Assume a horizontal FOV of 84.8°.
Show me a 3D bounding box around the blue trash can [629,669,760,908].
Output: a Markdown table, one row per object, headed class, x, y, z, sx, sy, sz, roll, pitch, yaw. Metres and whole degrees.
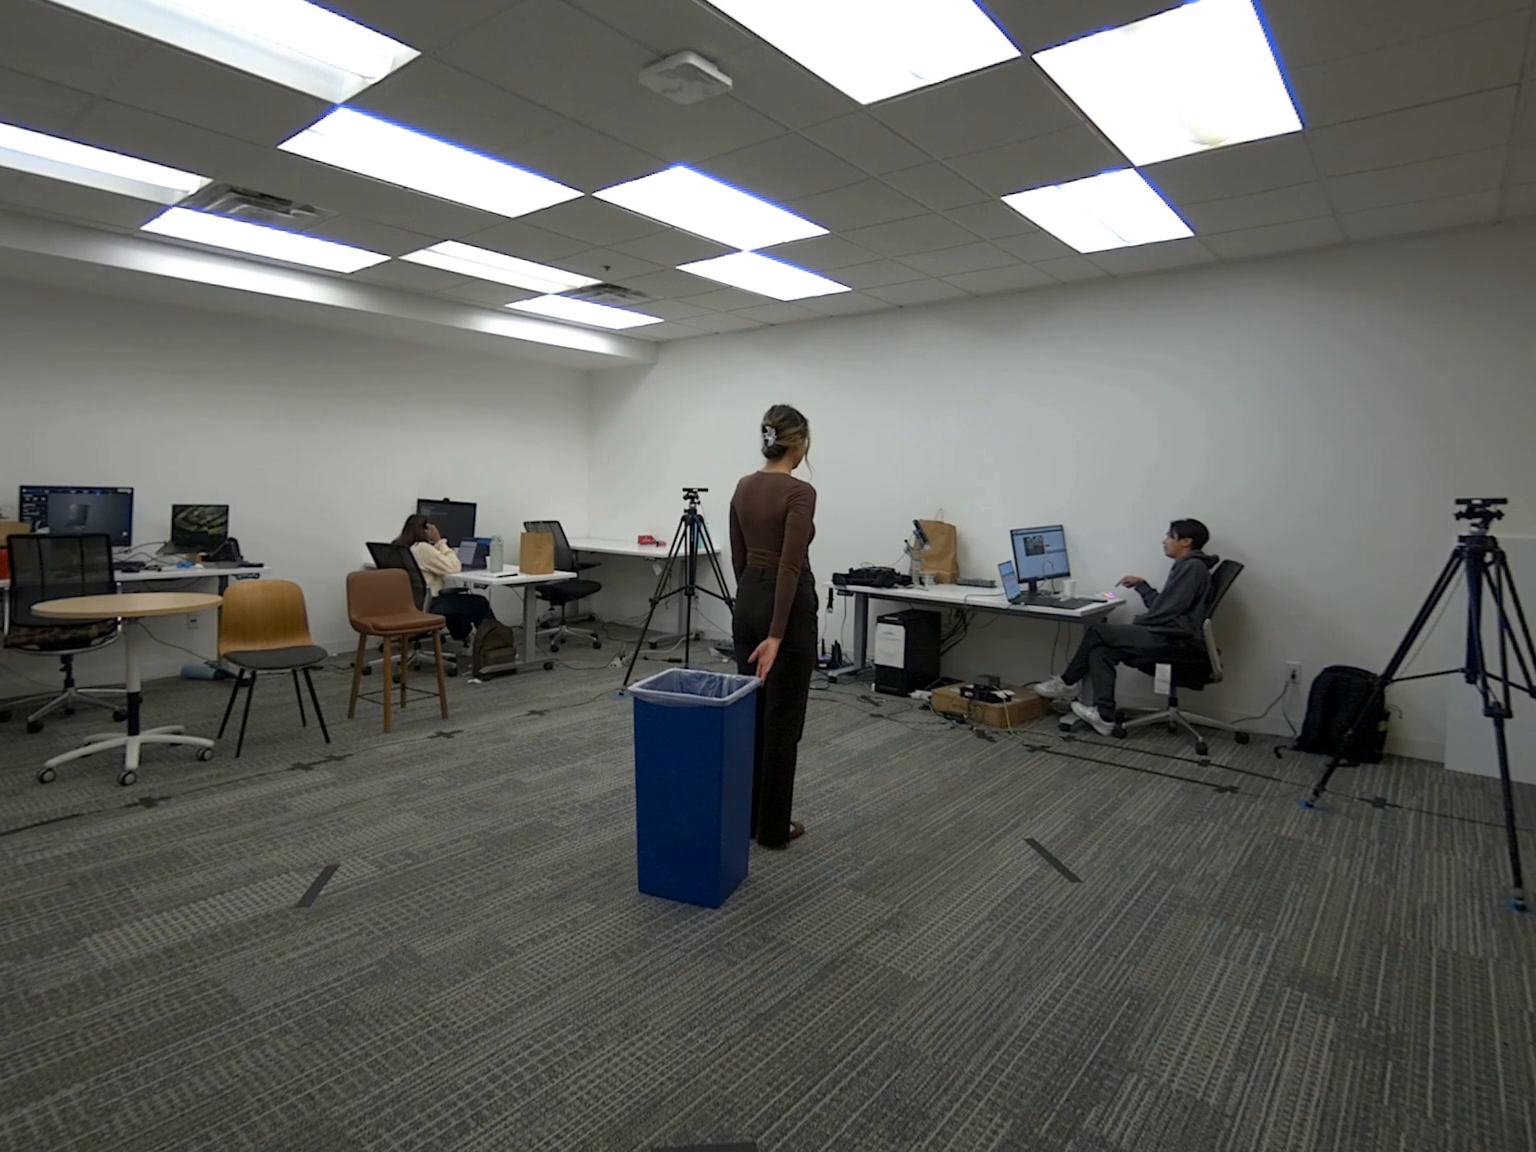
| class | x | y | z | sx | sy | sz | roll | pitch | yaw |
| --- | --- | --- | --- | --- | --- | --- | --- | --- | --- |
| blue trash can | -0.260 | 0.721 | 2.986 | 0.382 | 0.712 | 0.371 | 1 | 3 | 21 |
